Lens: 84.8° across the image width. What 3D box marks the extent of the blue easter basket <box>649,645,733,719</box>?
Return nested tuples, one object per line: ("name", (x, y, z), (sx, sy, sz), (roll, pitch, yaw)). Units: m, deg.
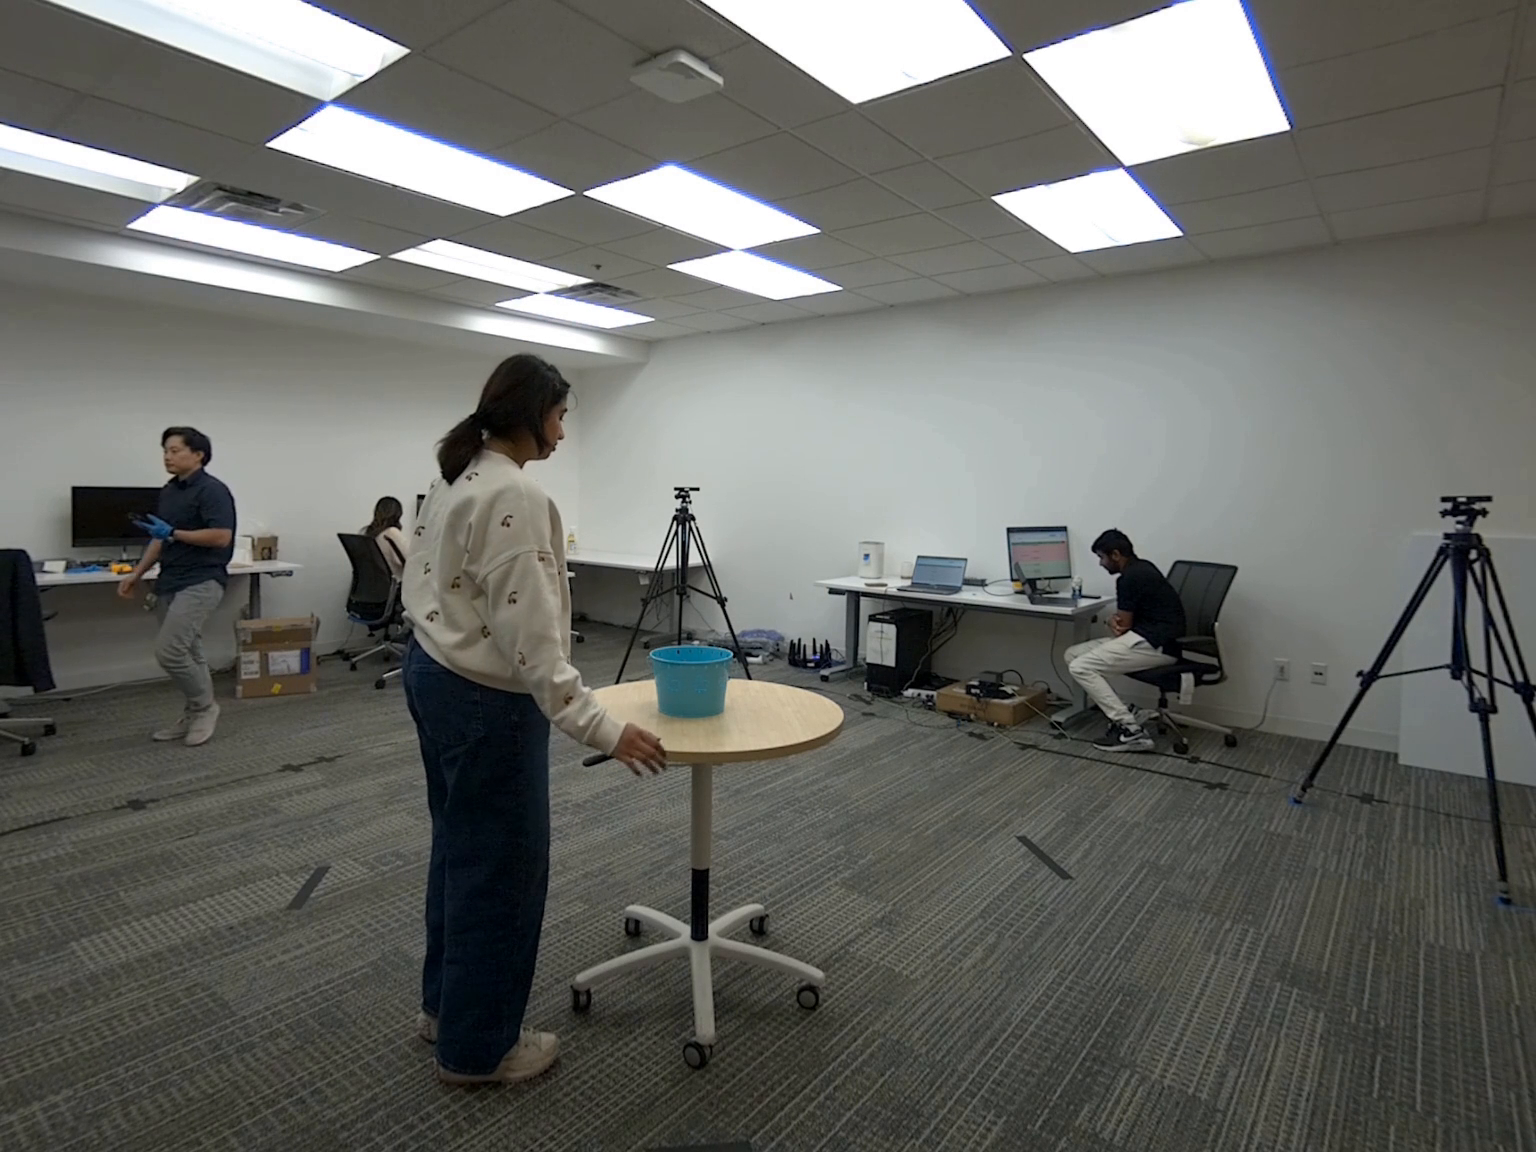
("blue easter basket", (-0.209, 0.294, 2.317), (0.243, 0.155, 0.245), (0, 6, -2))
